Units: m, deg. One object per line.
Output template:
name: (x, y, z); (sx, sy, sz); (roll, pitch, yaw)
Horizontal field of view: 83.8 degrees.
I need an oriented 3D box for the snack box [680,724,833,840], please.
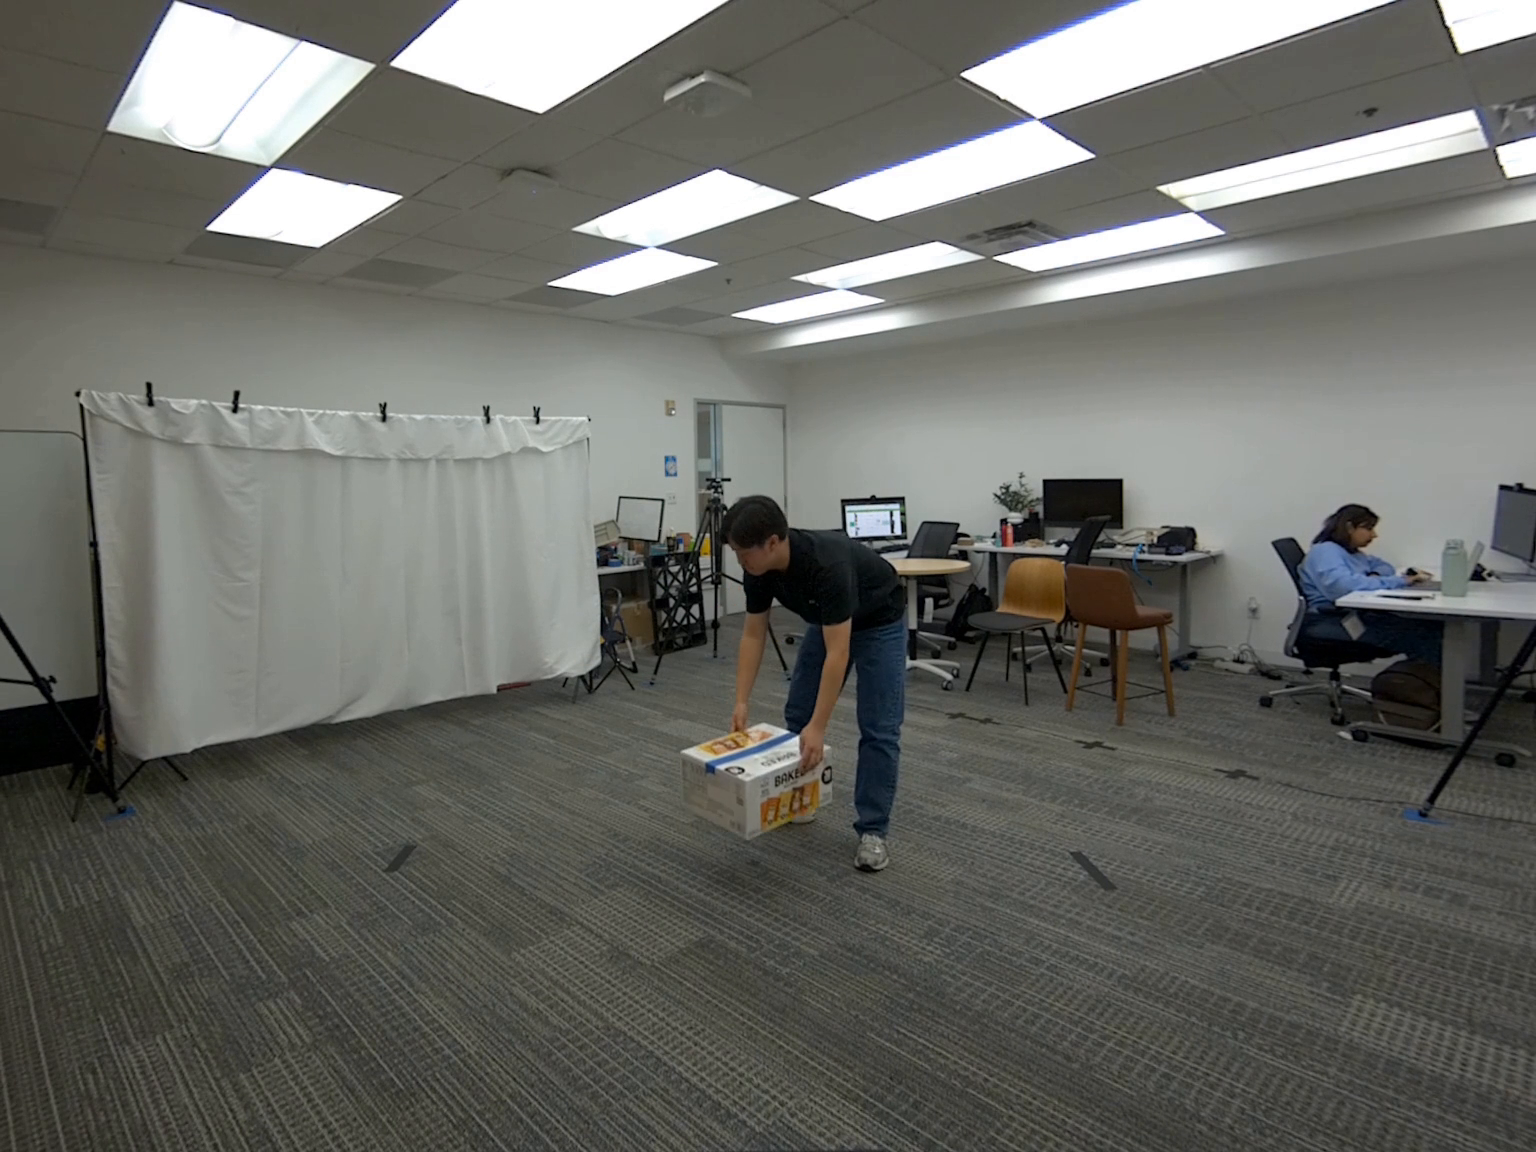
snack box: (-0.036, 0.686, 2.945); (0.395, 0.204, 0.351); (-11, 13, -41)
